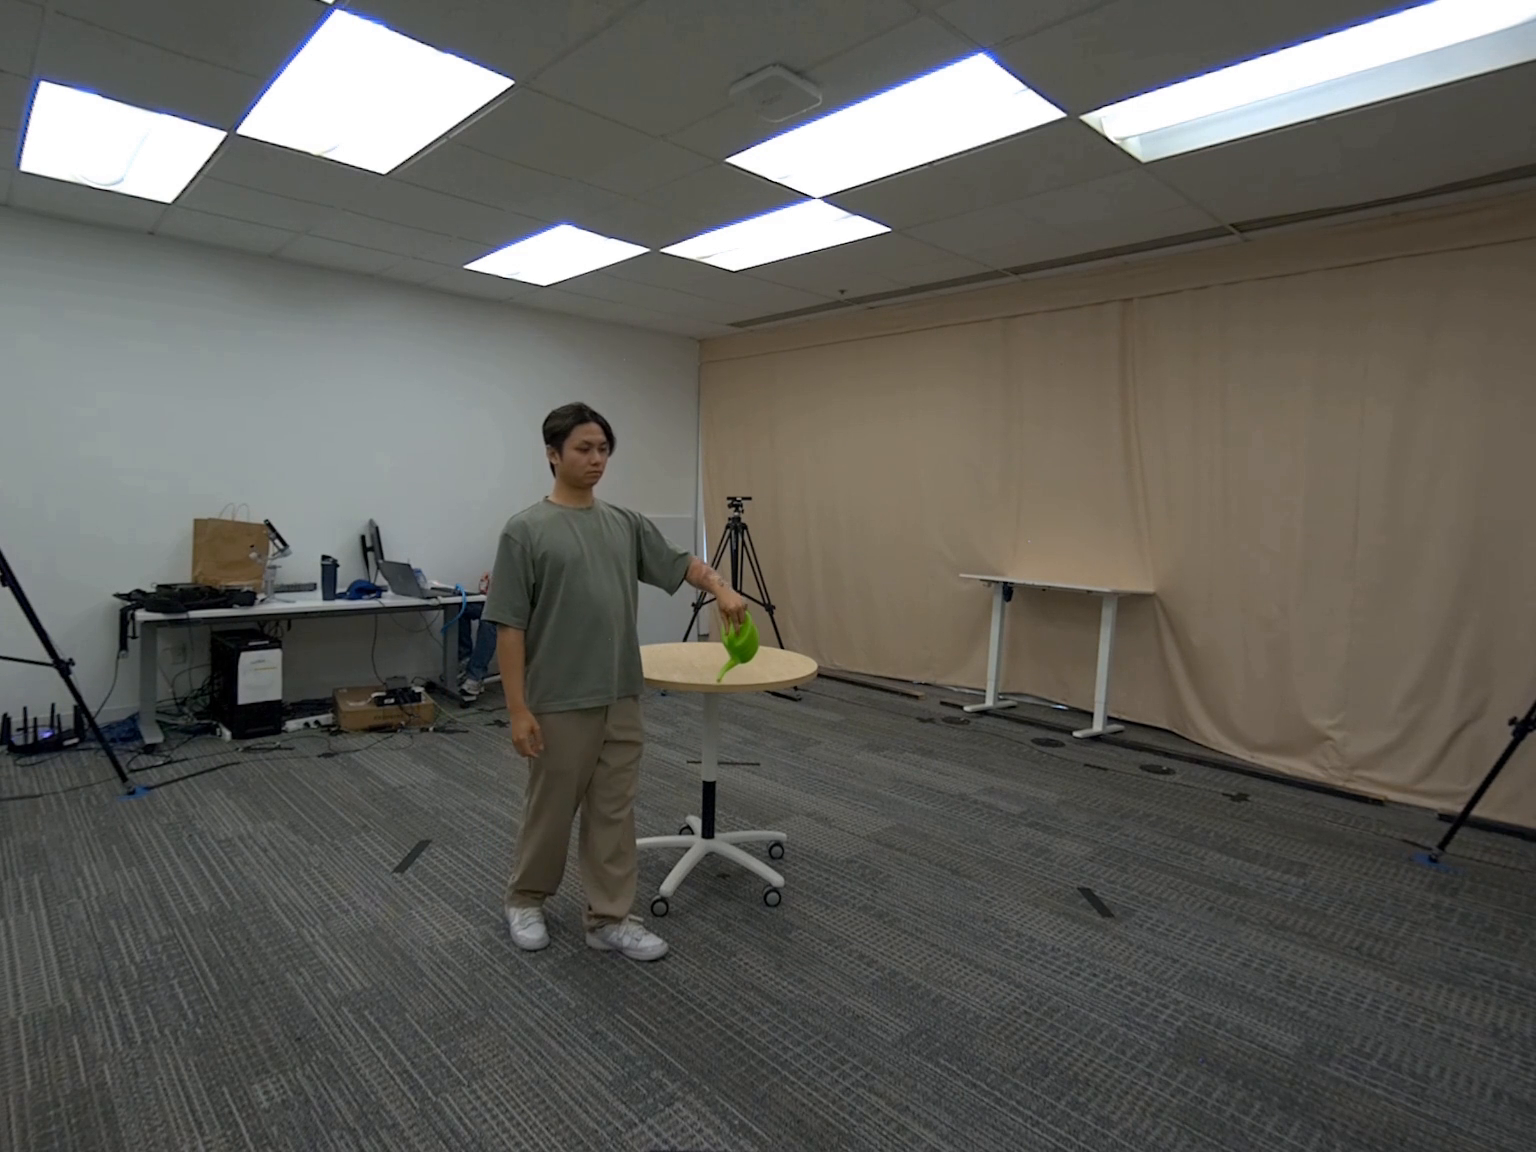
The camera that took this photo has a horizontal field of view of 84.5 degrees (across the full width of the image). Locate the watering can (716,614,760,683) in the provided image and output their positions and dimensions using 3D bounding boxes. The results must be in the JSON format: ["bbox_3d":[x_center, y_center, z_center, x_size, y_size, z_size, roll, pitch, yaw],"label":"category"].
[{"bbox_3d":[-0.111,0.214,2.516,0.100,0.280,0.172,17,-23,22],"label":"watering can"}]
